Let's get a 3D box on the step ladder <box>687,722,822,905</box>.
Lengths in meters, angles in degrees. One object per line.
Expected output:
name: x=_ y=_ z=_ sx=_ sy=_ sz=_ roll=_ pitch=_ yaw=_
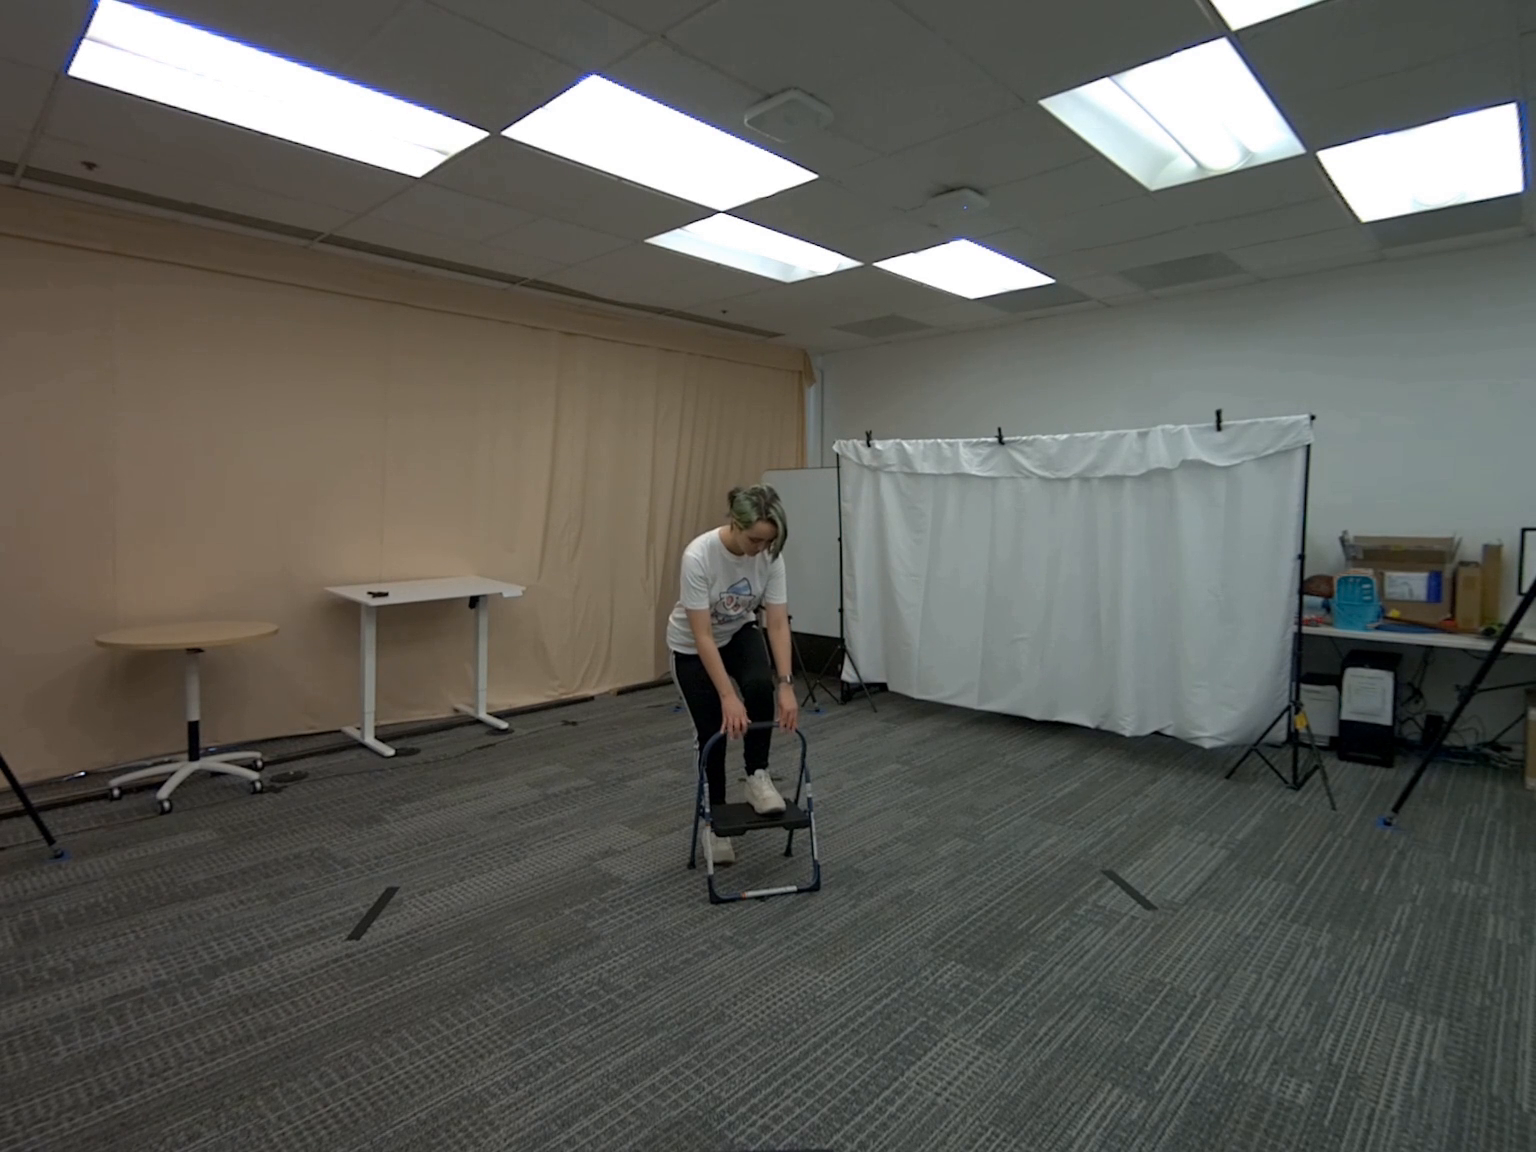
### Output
step ladder: x=-0.054 y=0.833 z=3.135 sx=0.423 sy=0.605 sz=0.356 roll=-1 pitch=3 yaw=-17
